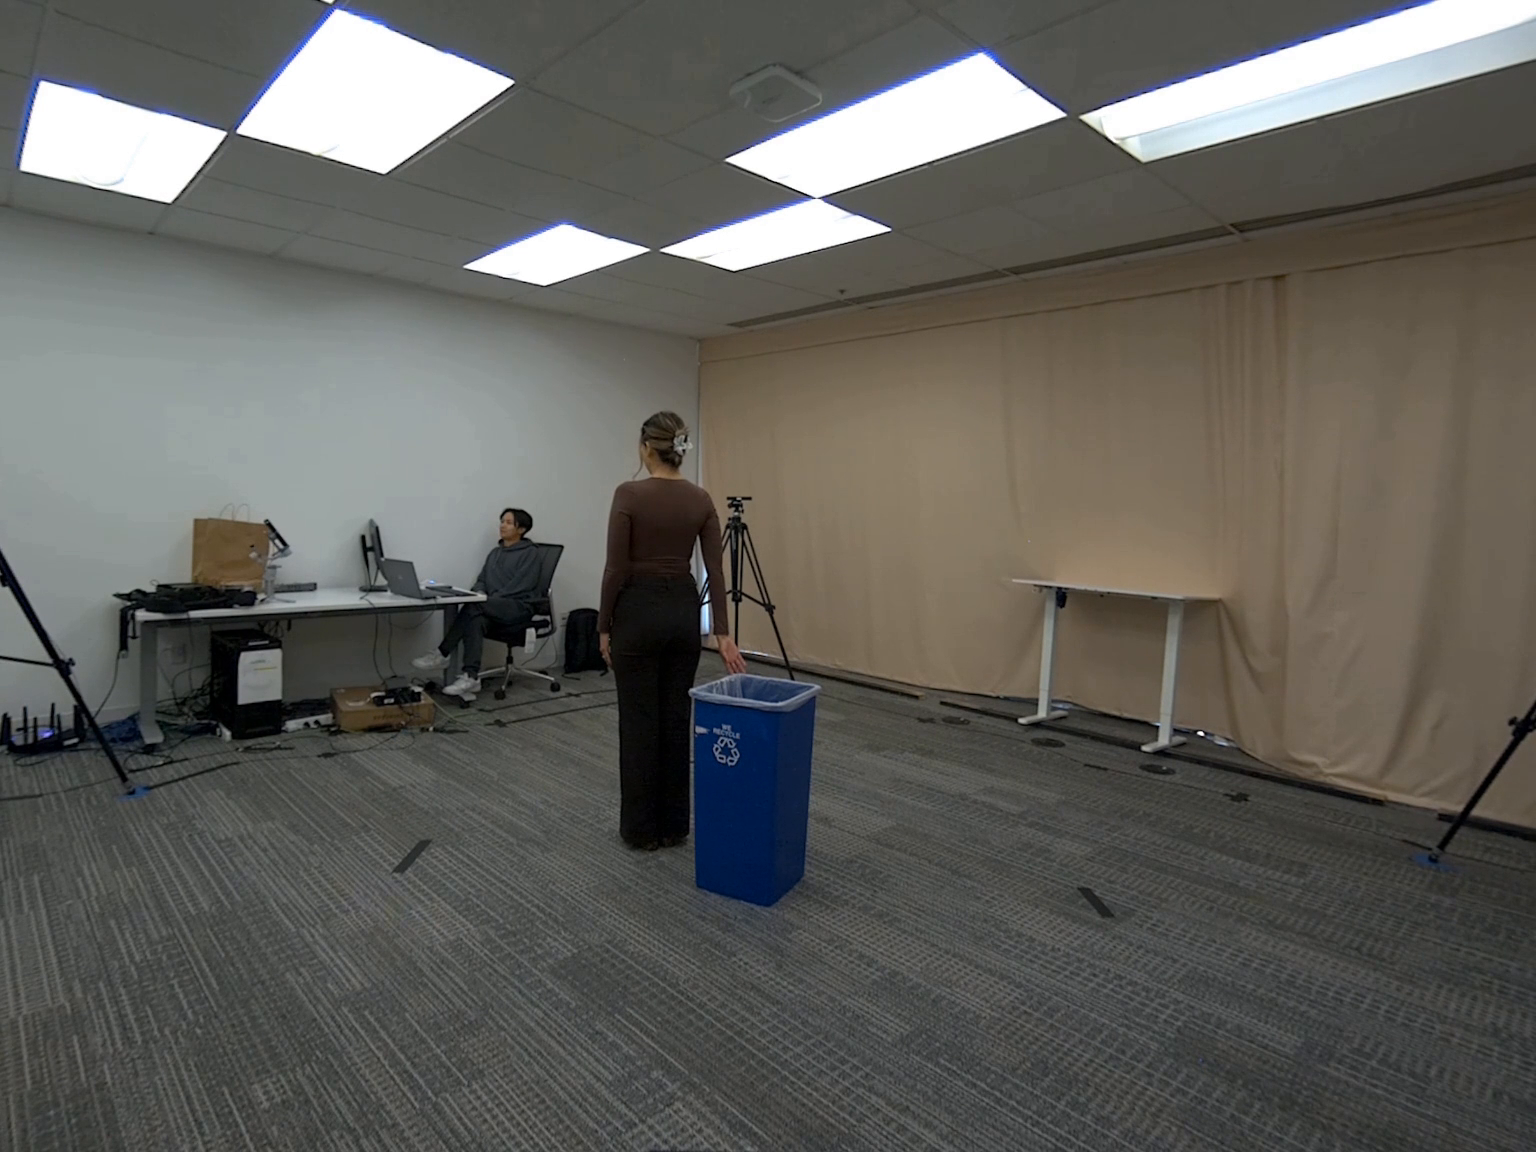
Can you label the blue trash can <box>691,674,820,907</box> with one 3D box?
[{"bbox_3d":[-0.061,0.754,3.047,0.386,0.711,0.367,3,5,27],"label":"blue trash can"}]
